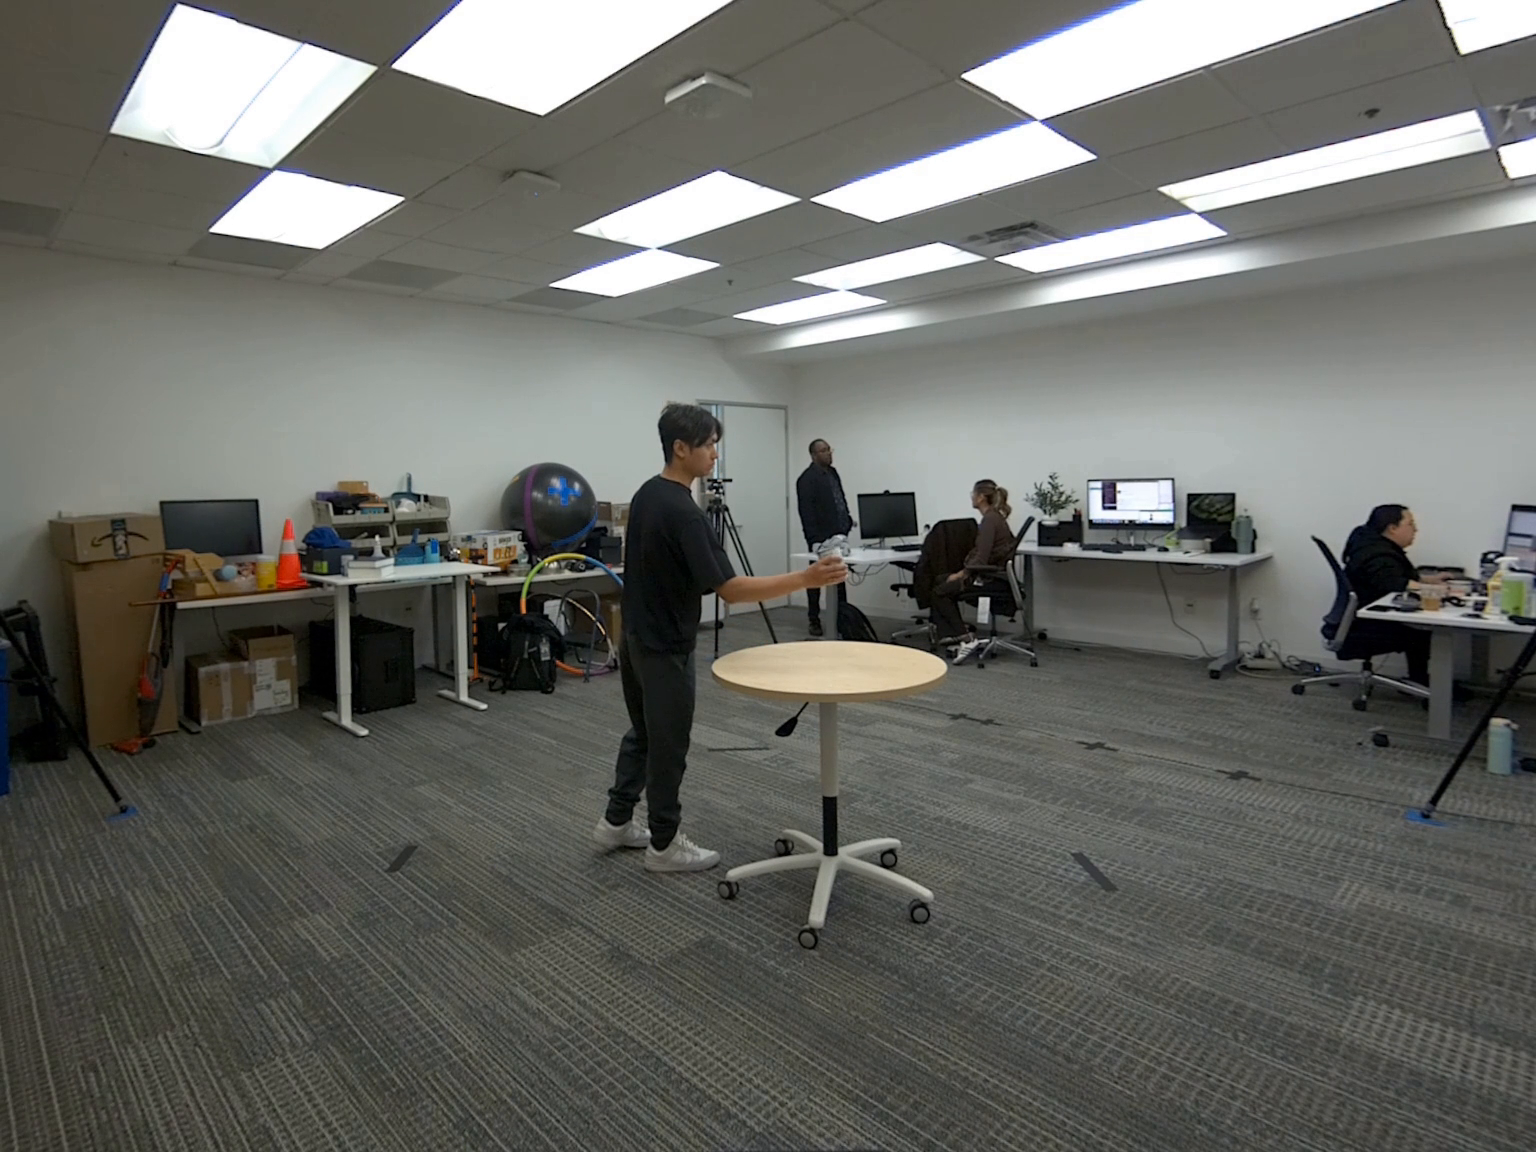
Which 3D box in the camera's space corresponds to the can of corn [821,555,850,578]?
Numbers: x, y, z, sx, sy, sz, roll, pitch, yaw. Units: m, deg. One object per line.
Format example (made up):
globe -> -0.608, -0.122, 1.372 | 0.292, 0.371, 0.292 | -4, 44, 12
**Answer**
can of corn -> 0.215, -0.034, 2.732 | 0.074, 0.111, 0.074 | -14, 0, -1
